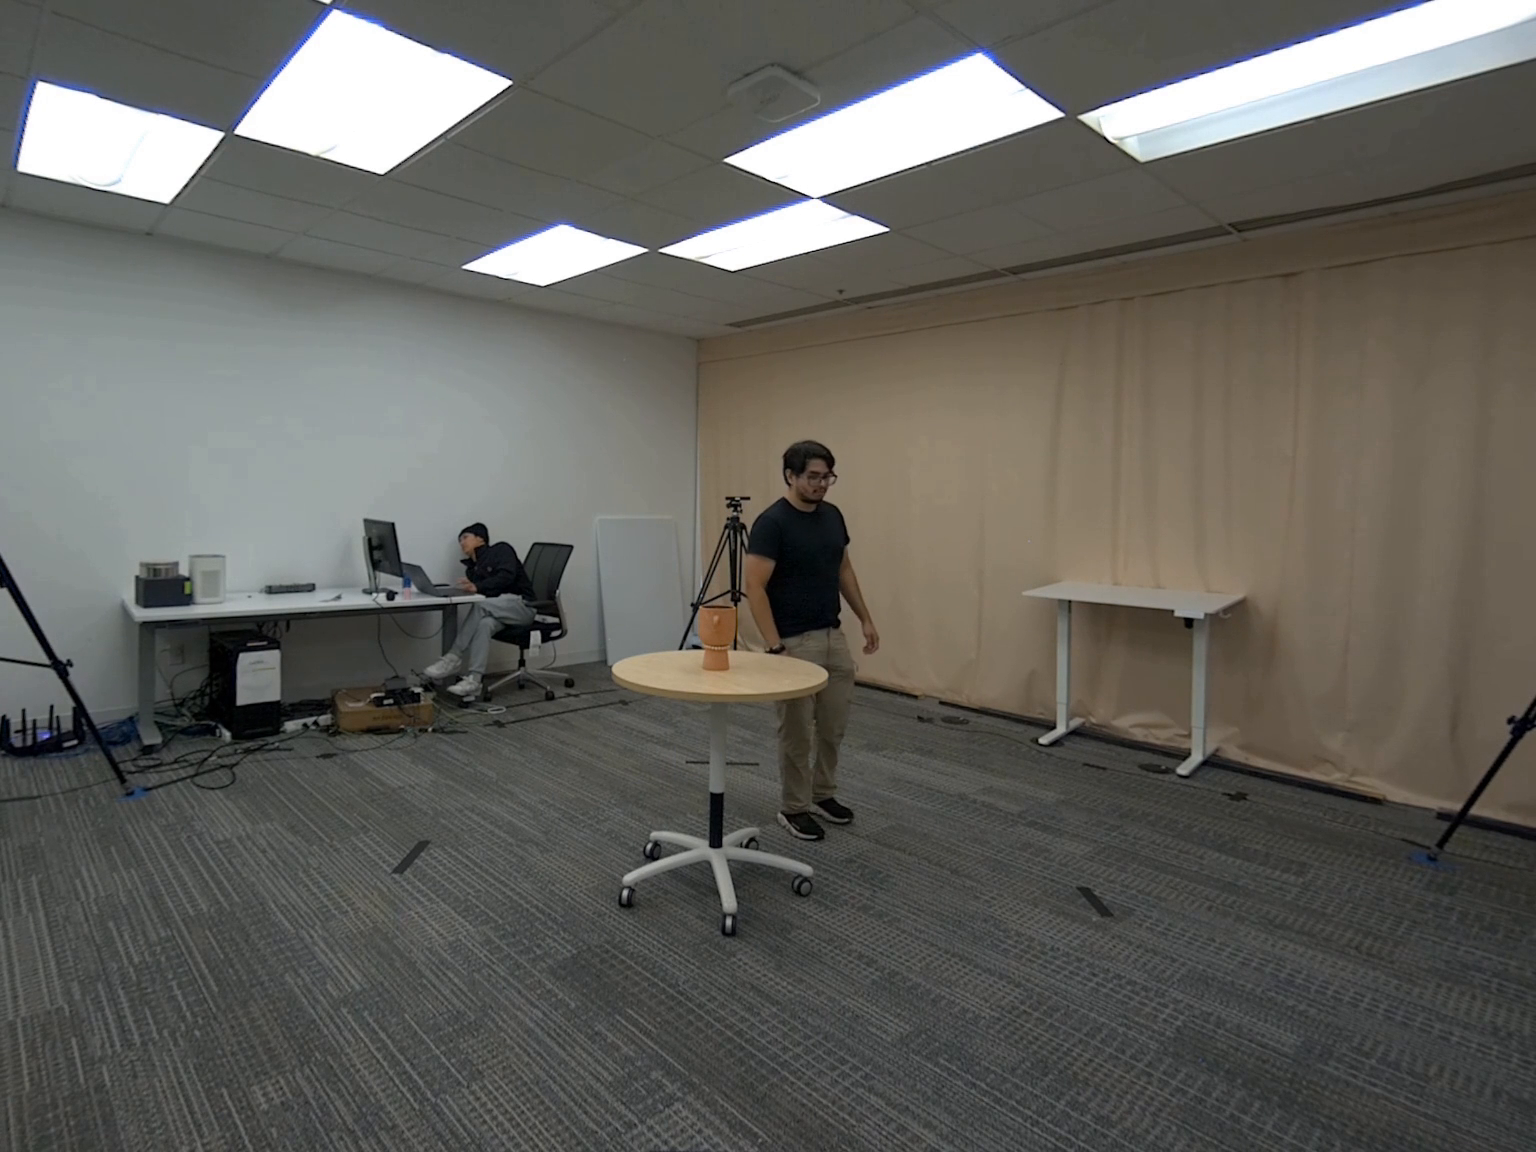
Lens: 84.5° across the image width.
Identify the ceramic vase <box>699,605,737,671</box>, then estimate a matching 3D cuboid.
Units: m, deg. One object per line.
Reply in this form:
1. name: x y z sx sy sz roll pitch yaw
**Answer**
1. ceramic vase: -0.186 0.223 2.998 0.138 0.219 0.155 5 5 39
